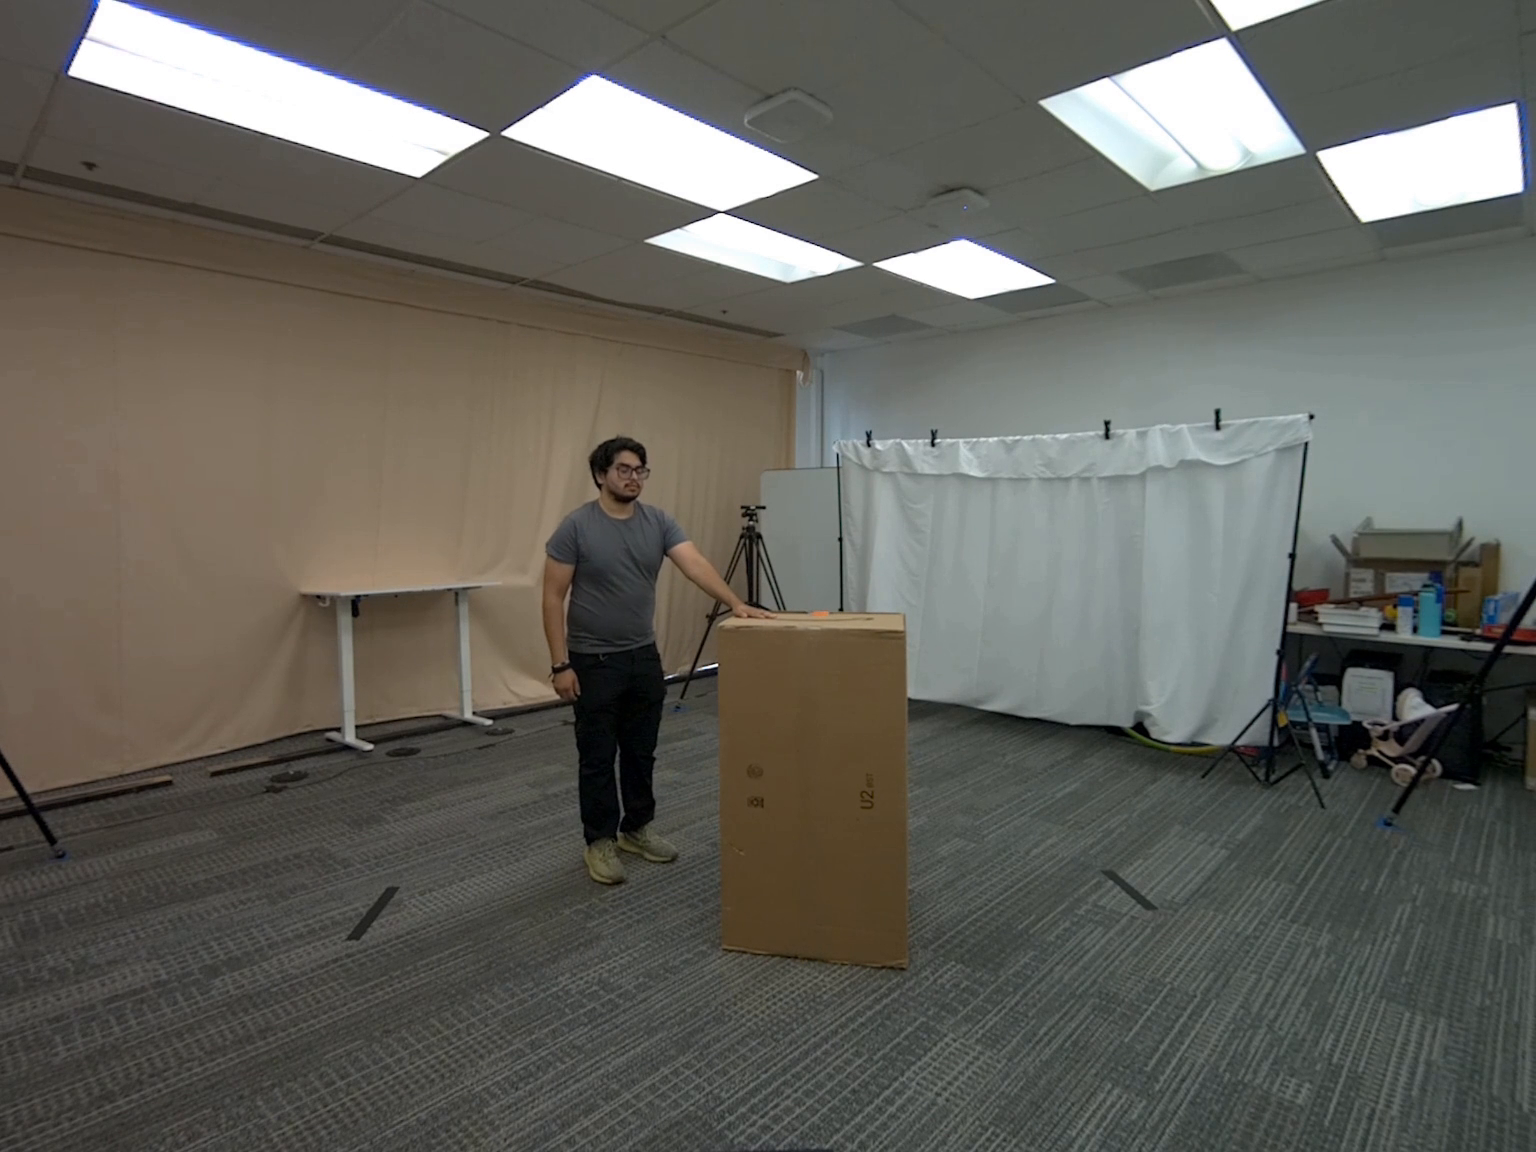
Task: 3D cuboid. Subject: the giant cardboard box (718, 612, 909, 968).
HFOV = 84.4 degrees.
[{"bbox_3d":[0.165,0.651,2.767,0.585,1.024,0.421,0,2,12],"label":"giant cardboard box"}]
